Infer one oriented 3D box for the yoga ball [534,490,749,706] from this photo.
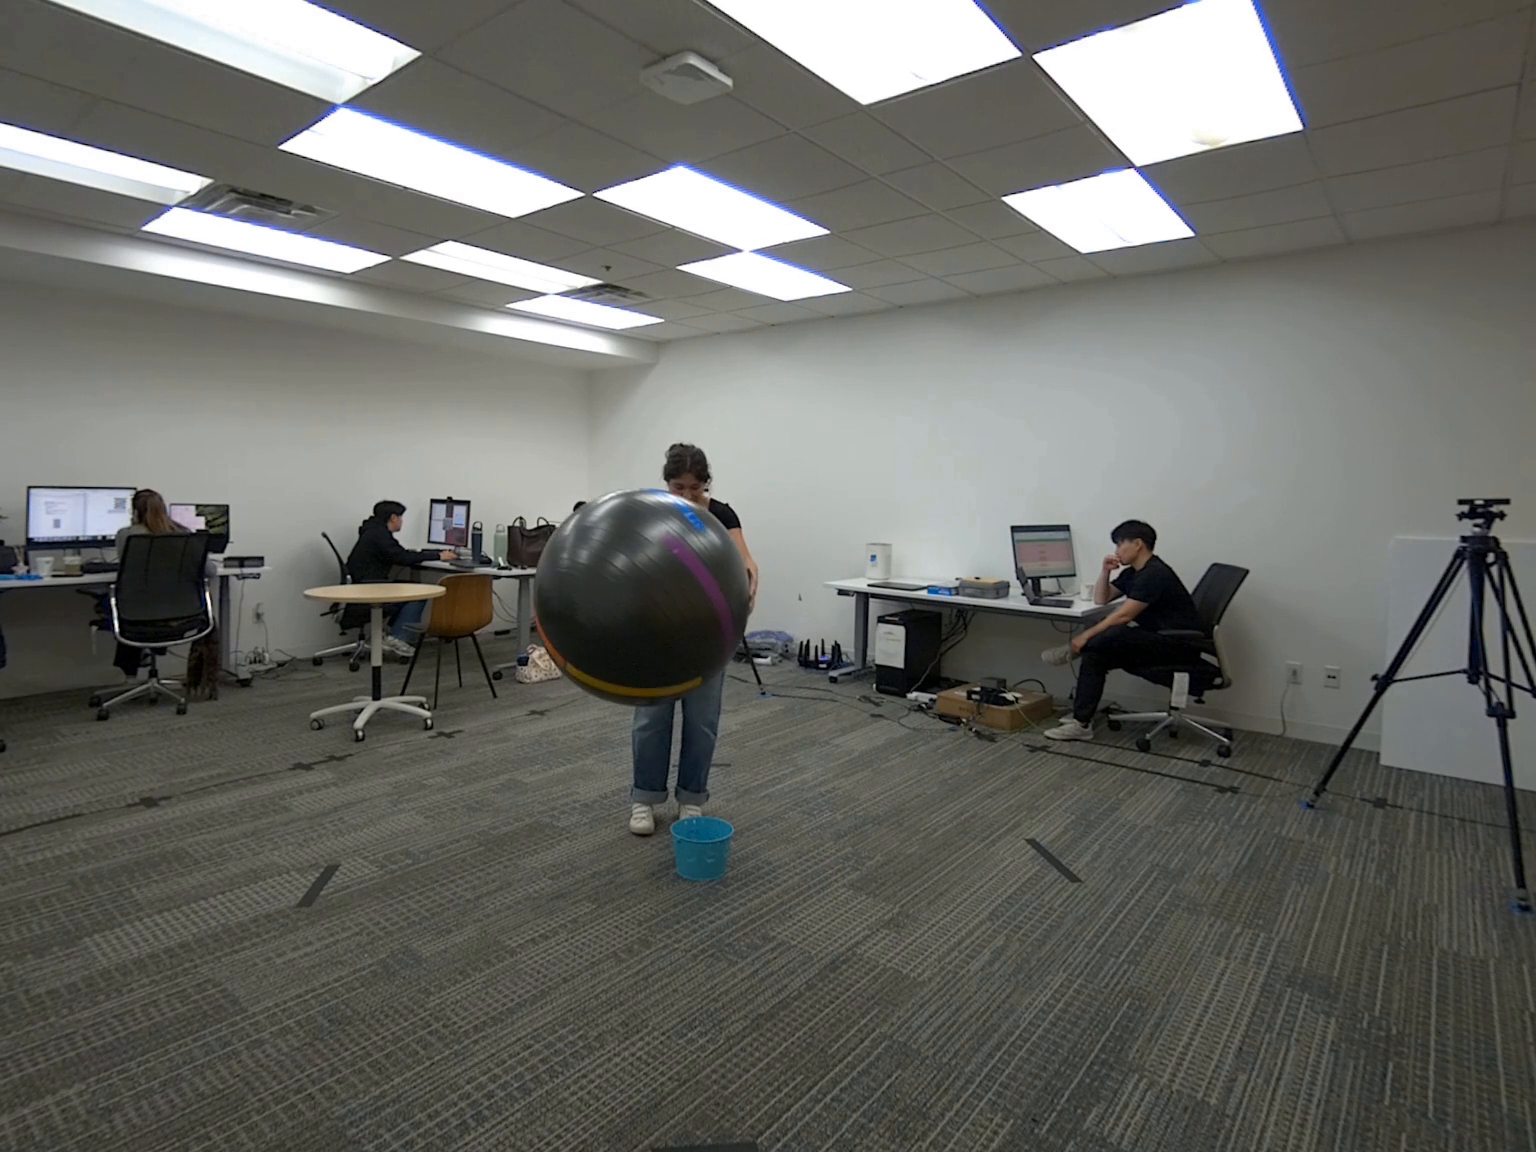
[{"bbox_3d":[-0.448,0.082,2.986,0.757,0.756,0.762,1,4,-2],"label":"yoga ball"}]
